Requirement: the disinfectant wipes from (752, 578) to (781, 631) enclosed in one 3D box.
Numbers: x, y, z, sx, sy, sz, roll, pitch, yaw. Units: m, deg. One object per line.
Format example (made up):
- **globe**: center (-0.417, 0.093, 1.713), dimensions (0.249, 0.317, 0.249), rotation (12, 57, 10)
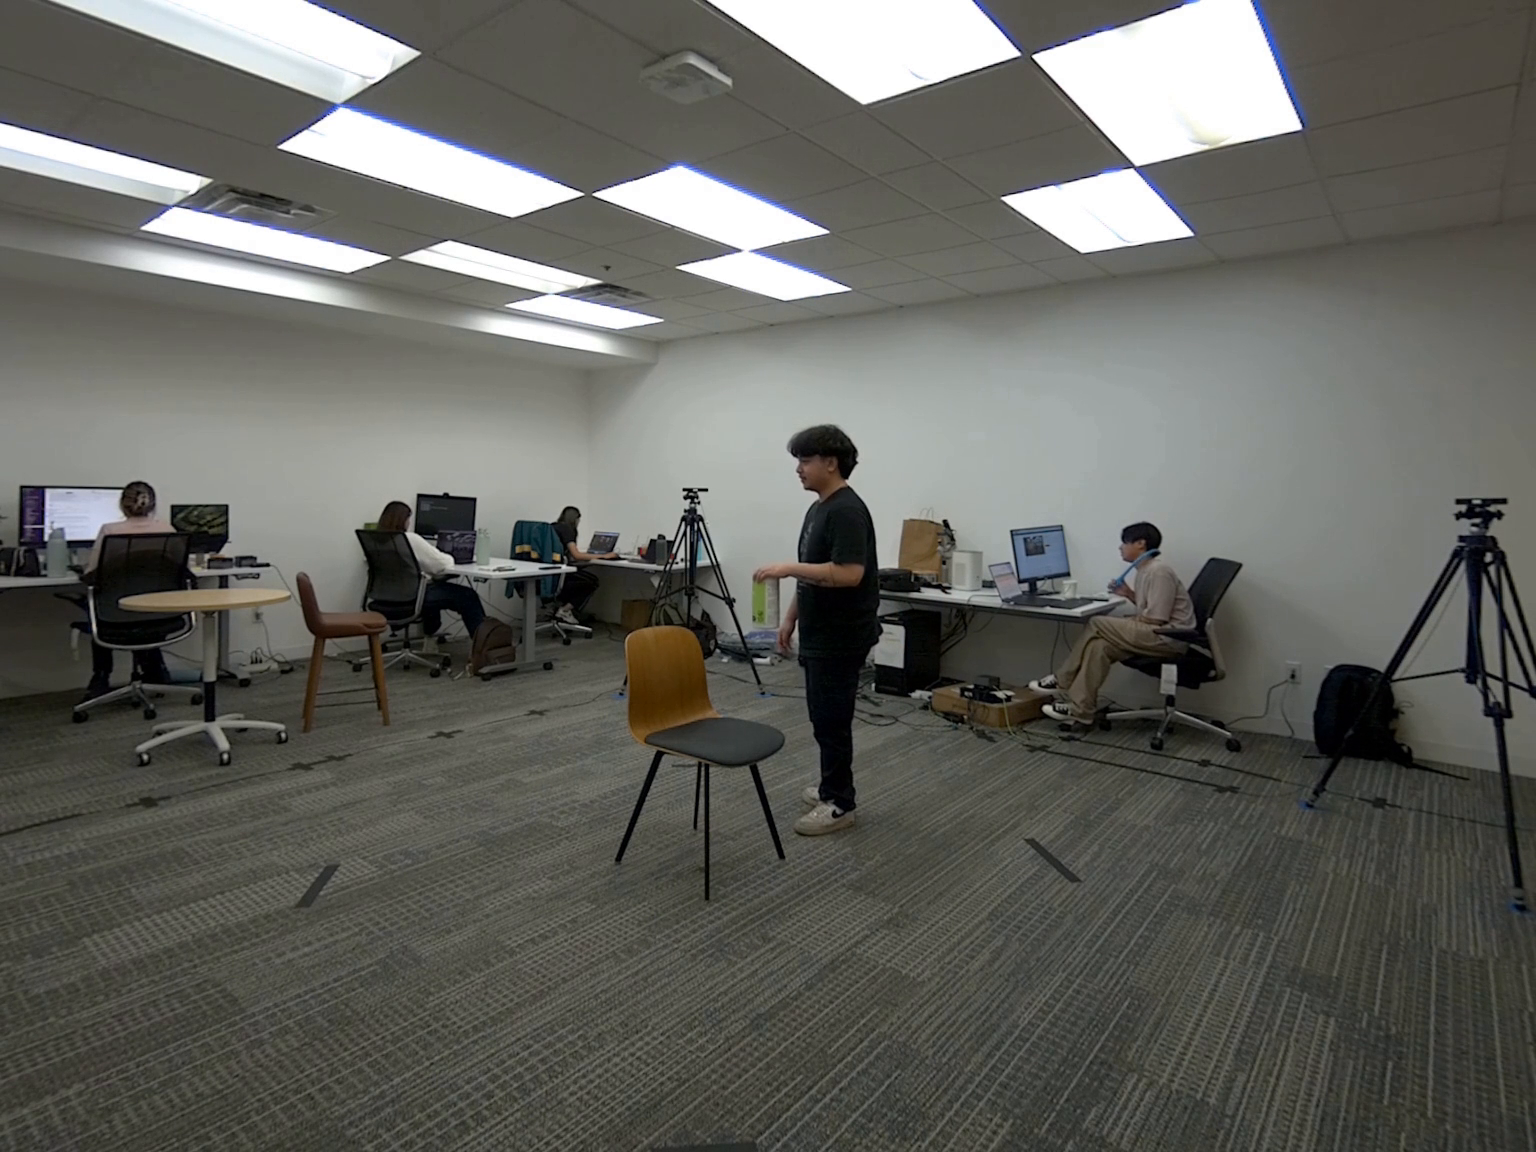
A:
- **disinfectant wipes**: center (-0.009, 0.098, 3.416), dimensions (0.118, 0.217, 0.118), rotation (2, 0, -2)
